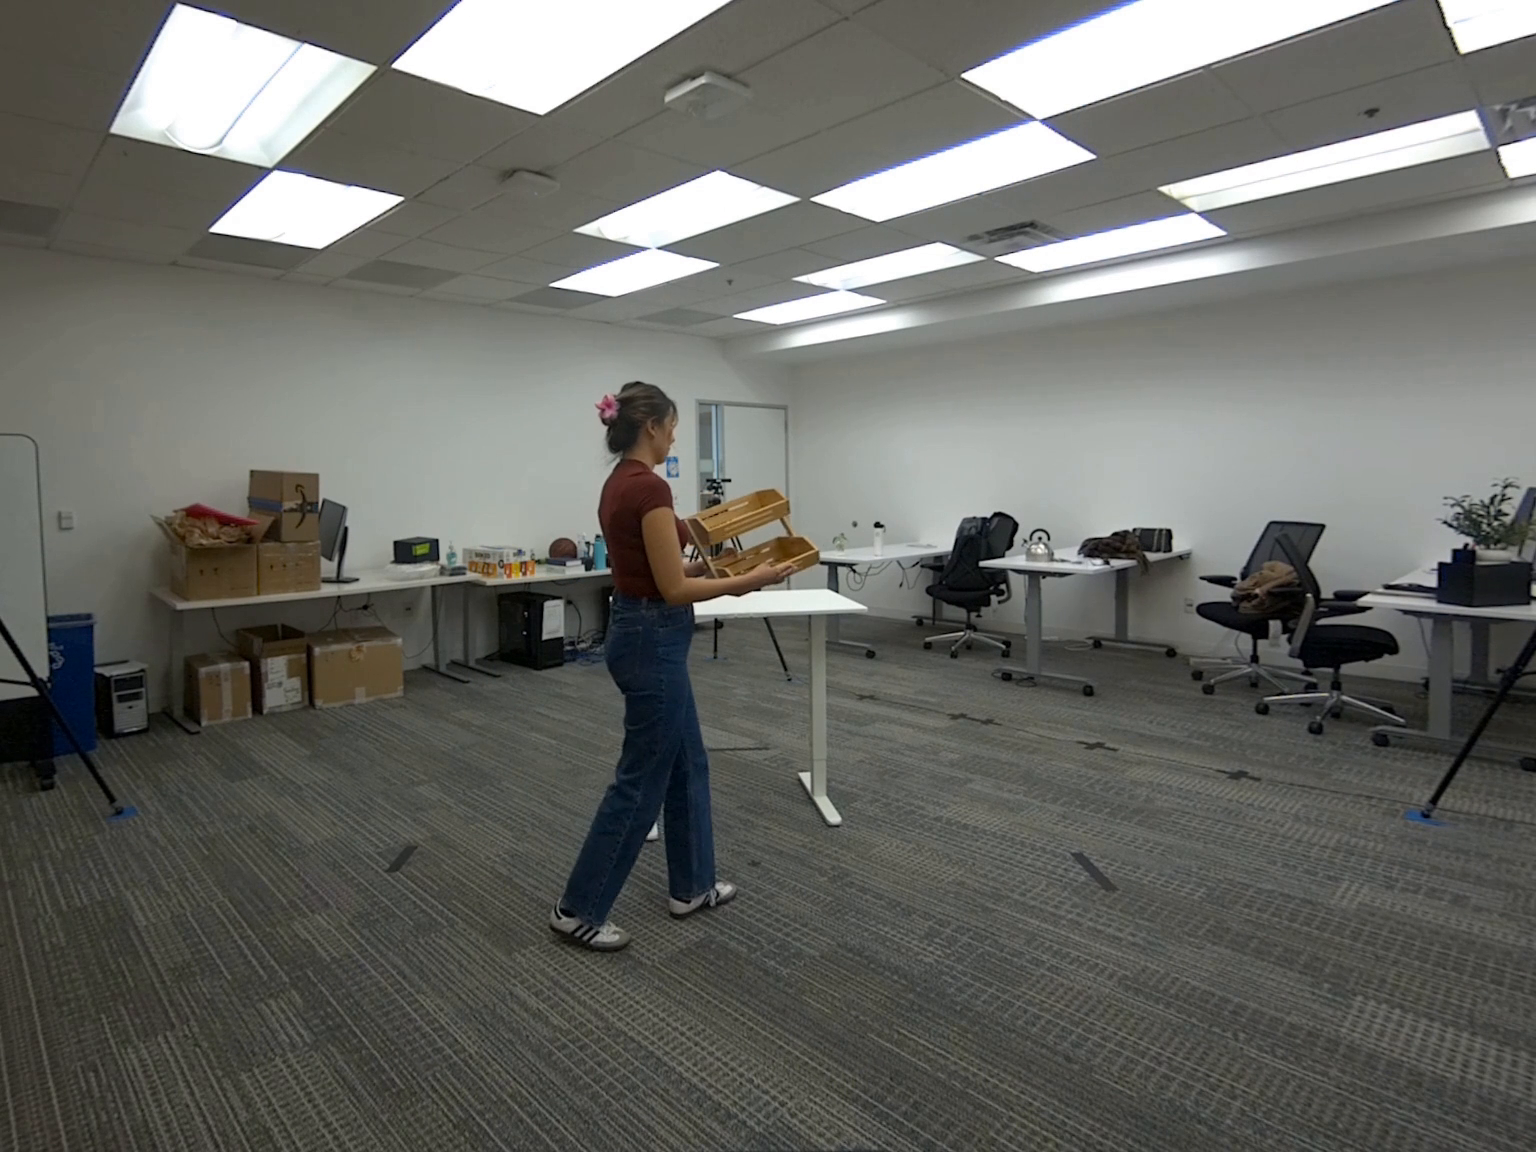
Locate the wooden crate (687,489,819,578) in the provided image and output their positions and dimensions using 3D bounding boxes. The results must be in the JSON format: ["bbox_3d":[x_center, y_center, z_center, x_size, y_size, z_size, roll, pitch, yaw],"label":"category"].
[{"bbox_3d":[-0.060,-0.120,2.760,0.320,0.271,0.309,-22,10,-23],"label":"wooden crate"}]
